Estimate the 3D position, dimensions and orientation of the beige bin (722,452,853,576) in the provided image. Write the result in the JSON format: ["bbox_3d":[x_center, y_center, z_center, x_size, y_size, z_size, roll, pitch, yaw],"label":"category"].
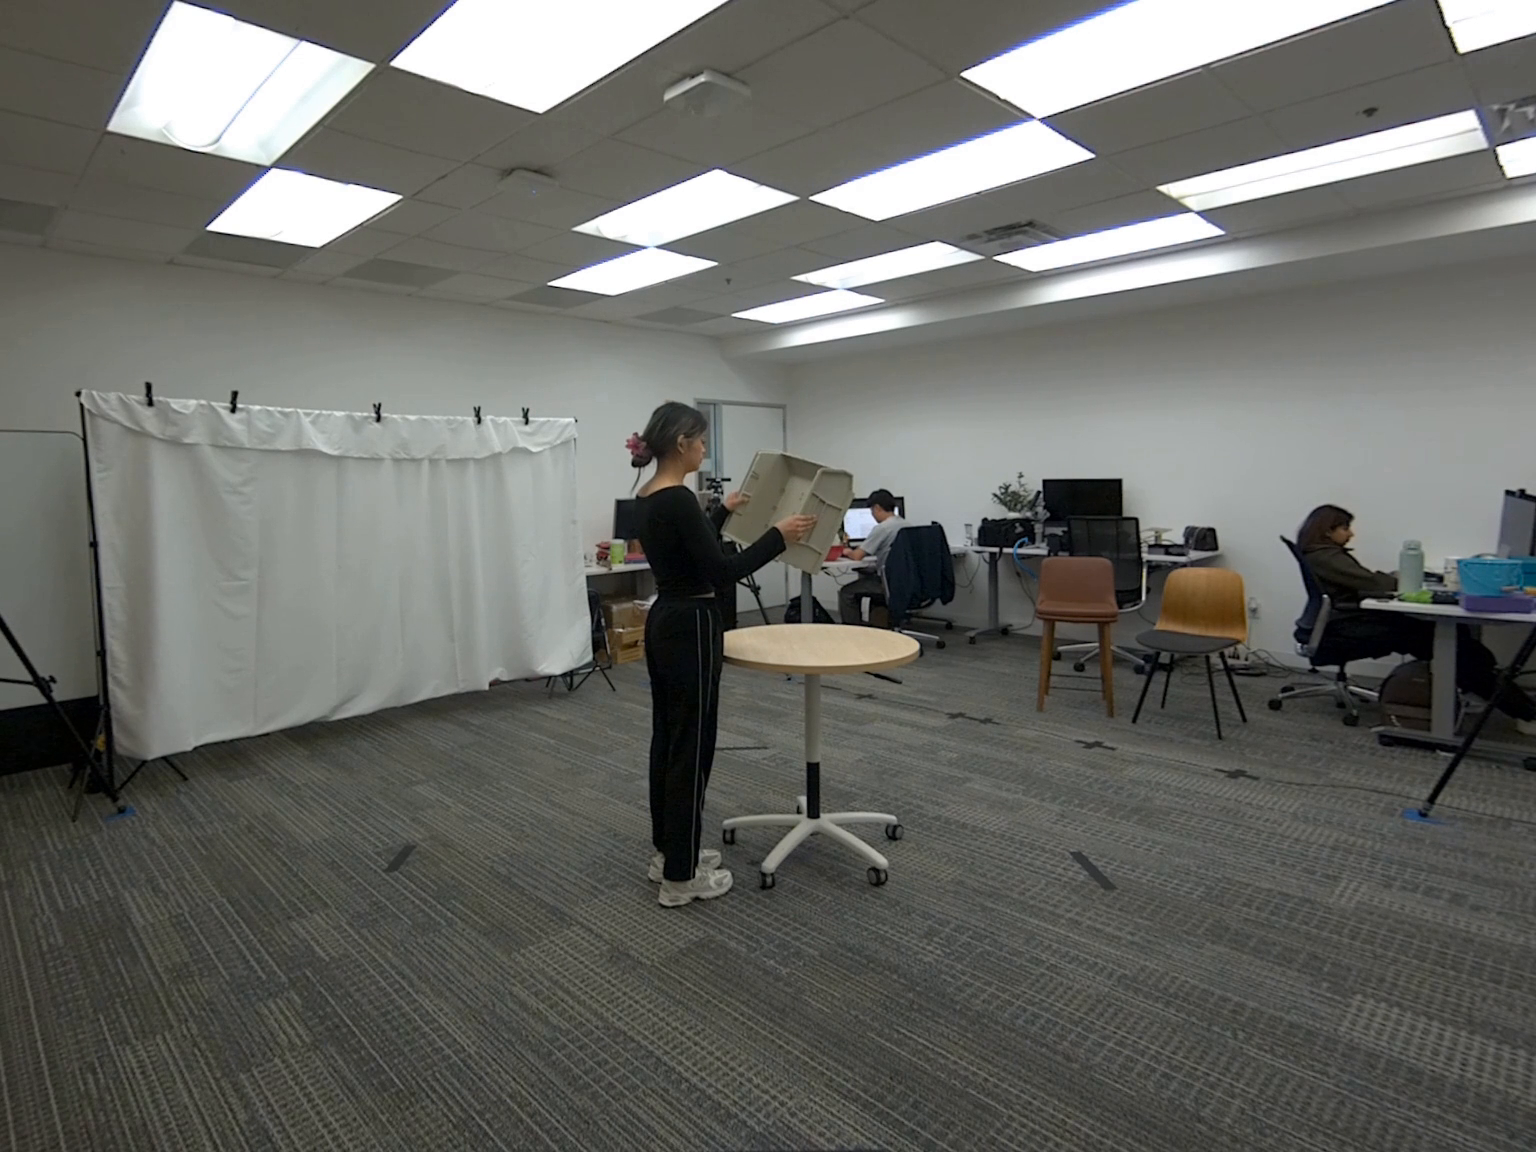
[{"bbox_3d":[0.068,-0.242,3.049,0.183,0.377,0.437,21,3,-34],"label":"beige bin"}]
